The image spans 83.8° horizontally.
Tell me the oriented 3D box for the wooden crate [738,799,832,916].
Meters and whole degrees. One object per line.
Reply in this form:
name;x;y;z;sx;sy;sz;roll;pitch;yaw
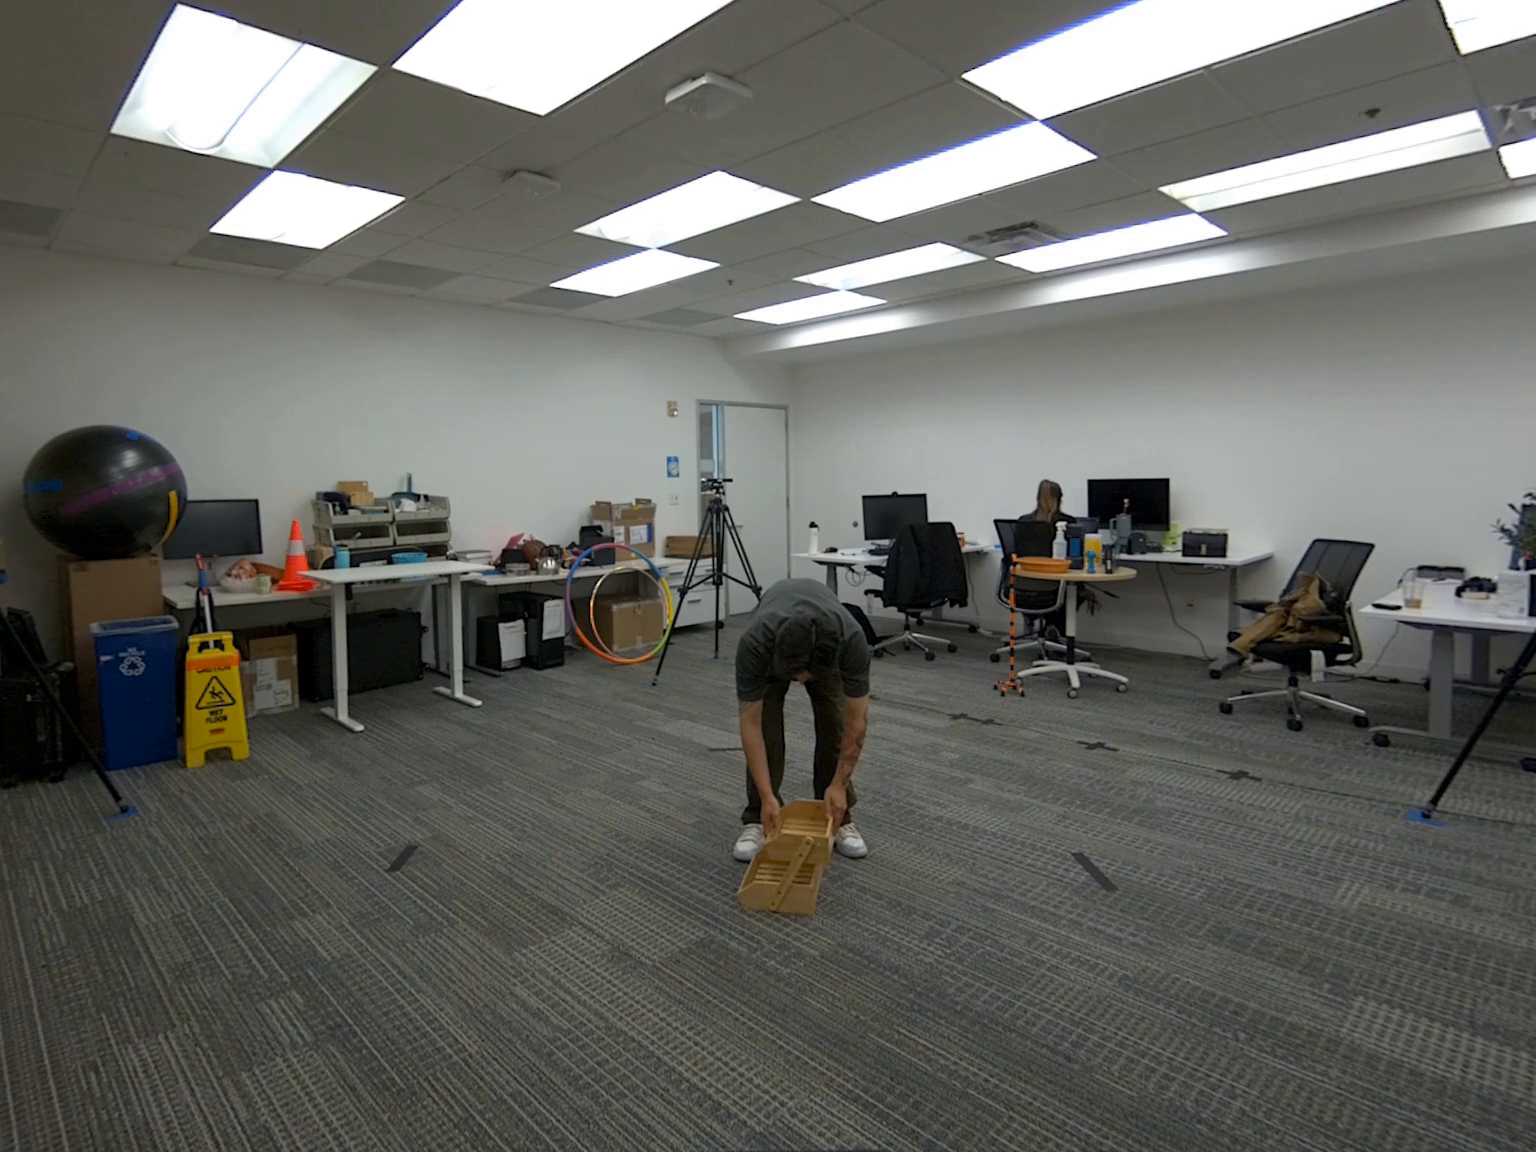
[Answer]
wooden crate;0.071;0.931;2.889;0.305;0.272;0.322;0;5;11
